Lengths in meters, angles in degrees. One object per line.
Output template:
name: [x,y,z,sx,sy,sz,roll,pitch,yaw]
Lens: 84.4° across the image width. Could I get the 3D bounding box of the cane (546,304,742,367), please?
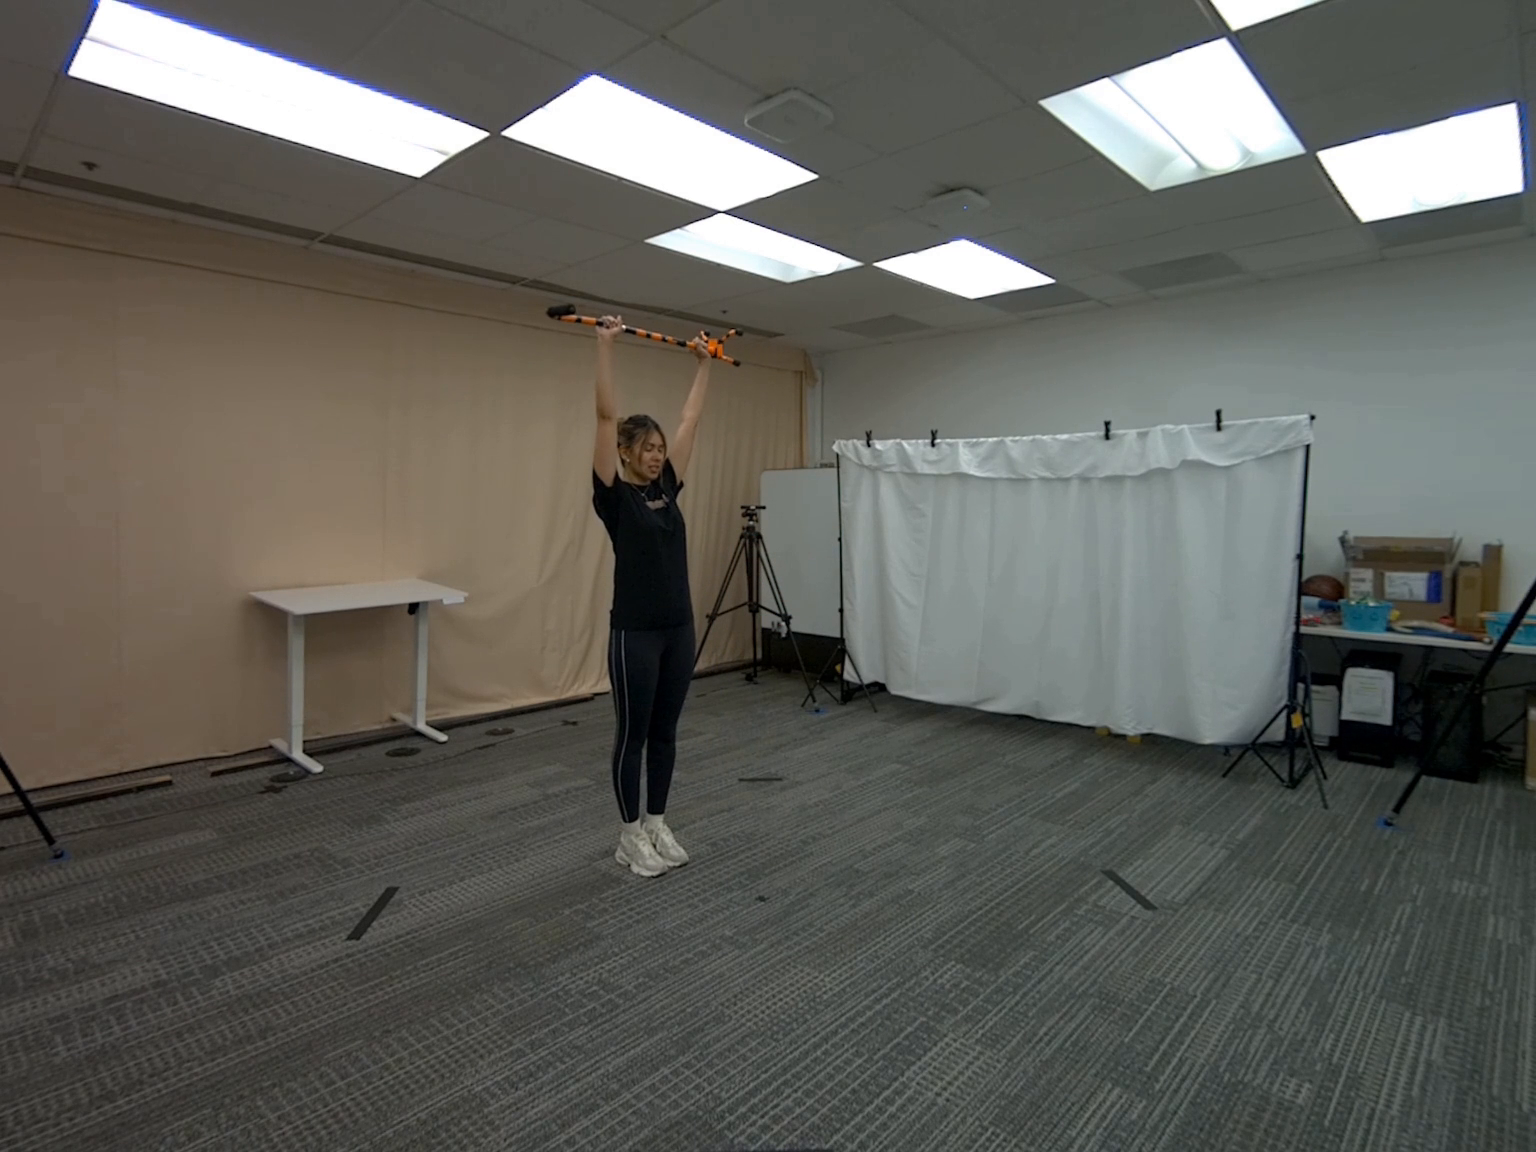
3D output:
cane: [-0.450,-0.920,3.140,0.213,0.151,0.881,11,10,37]
